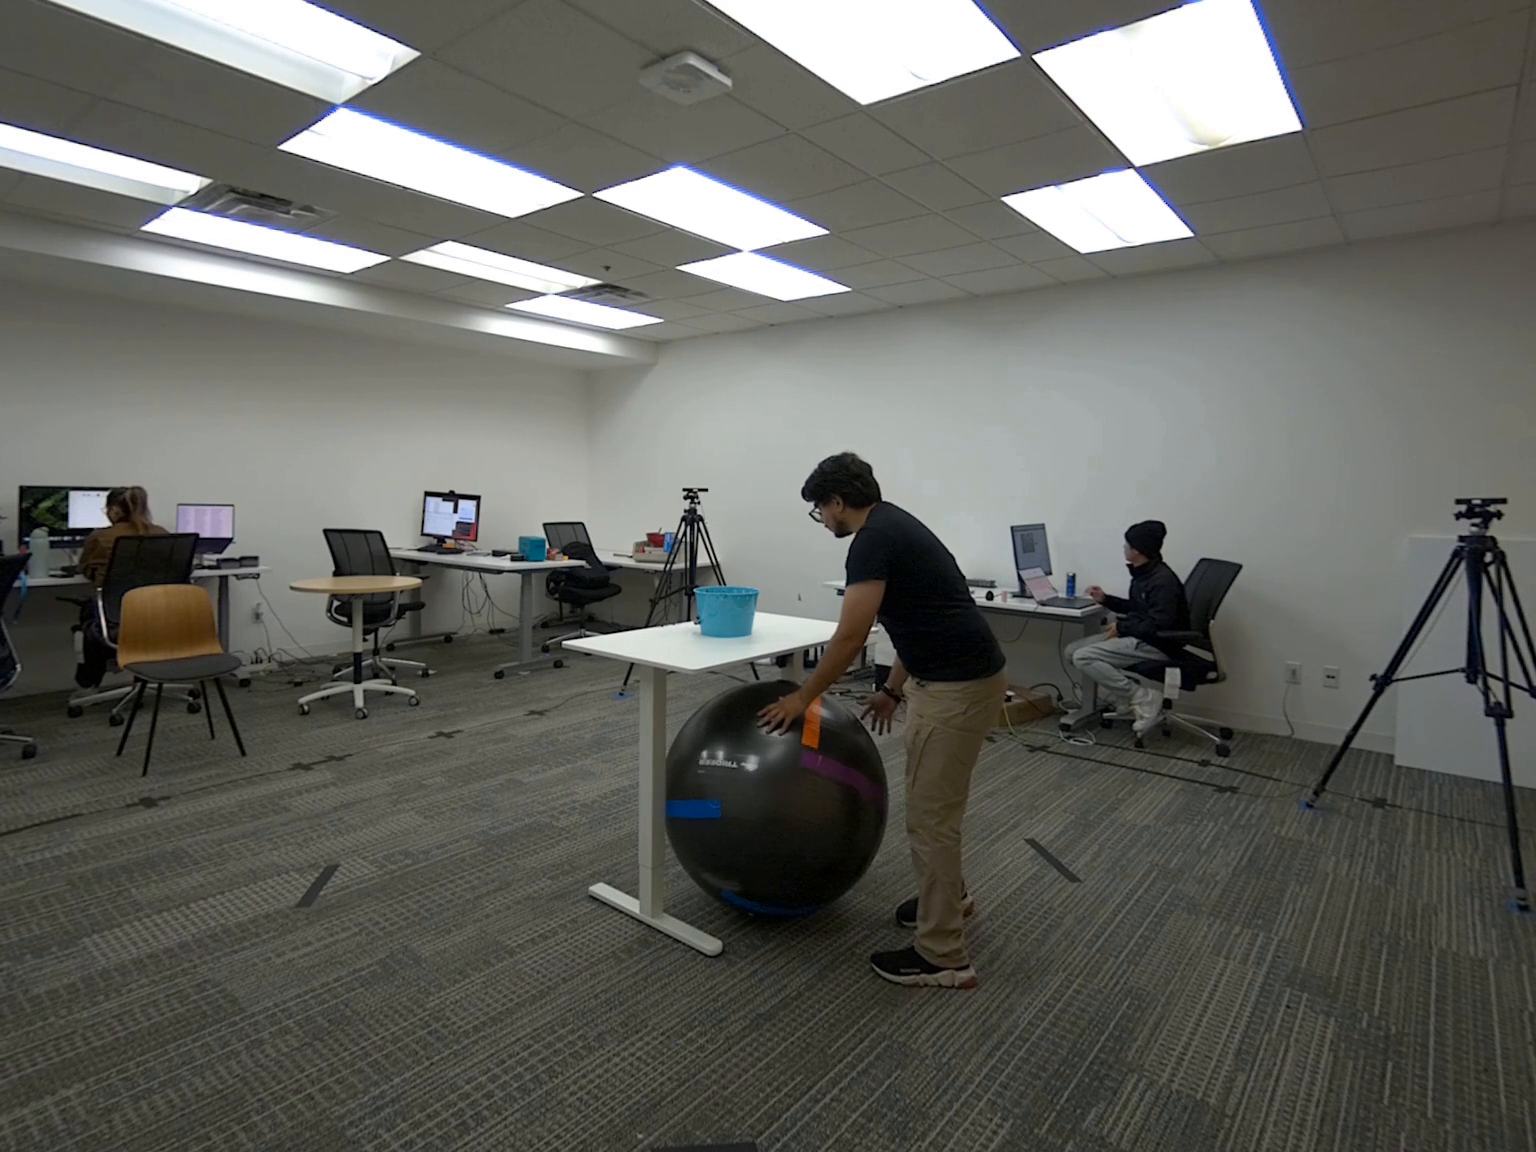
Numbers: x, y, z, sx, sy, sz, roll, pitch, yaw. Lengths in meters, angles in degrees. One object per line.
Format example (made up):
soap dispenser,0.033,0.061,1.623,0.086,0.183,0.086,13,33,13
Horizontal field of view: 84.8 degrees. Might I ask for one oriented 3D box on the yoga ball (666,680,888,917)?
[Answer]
yoga ball,0.022,0.736,2.835,0.757,0.755,0.762,1,4,-2
